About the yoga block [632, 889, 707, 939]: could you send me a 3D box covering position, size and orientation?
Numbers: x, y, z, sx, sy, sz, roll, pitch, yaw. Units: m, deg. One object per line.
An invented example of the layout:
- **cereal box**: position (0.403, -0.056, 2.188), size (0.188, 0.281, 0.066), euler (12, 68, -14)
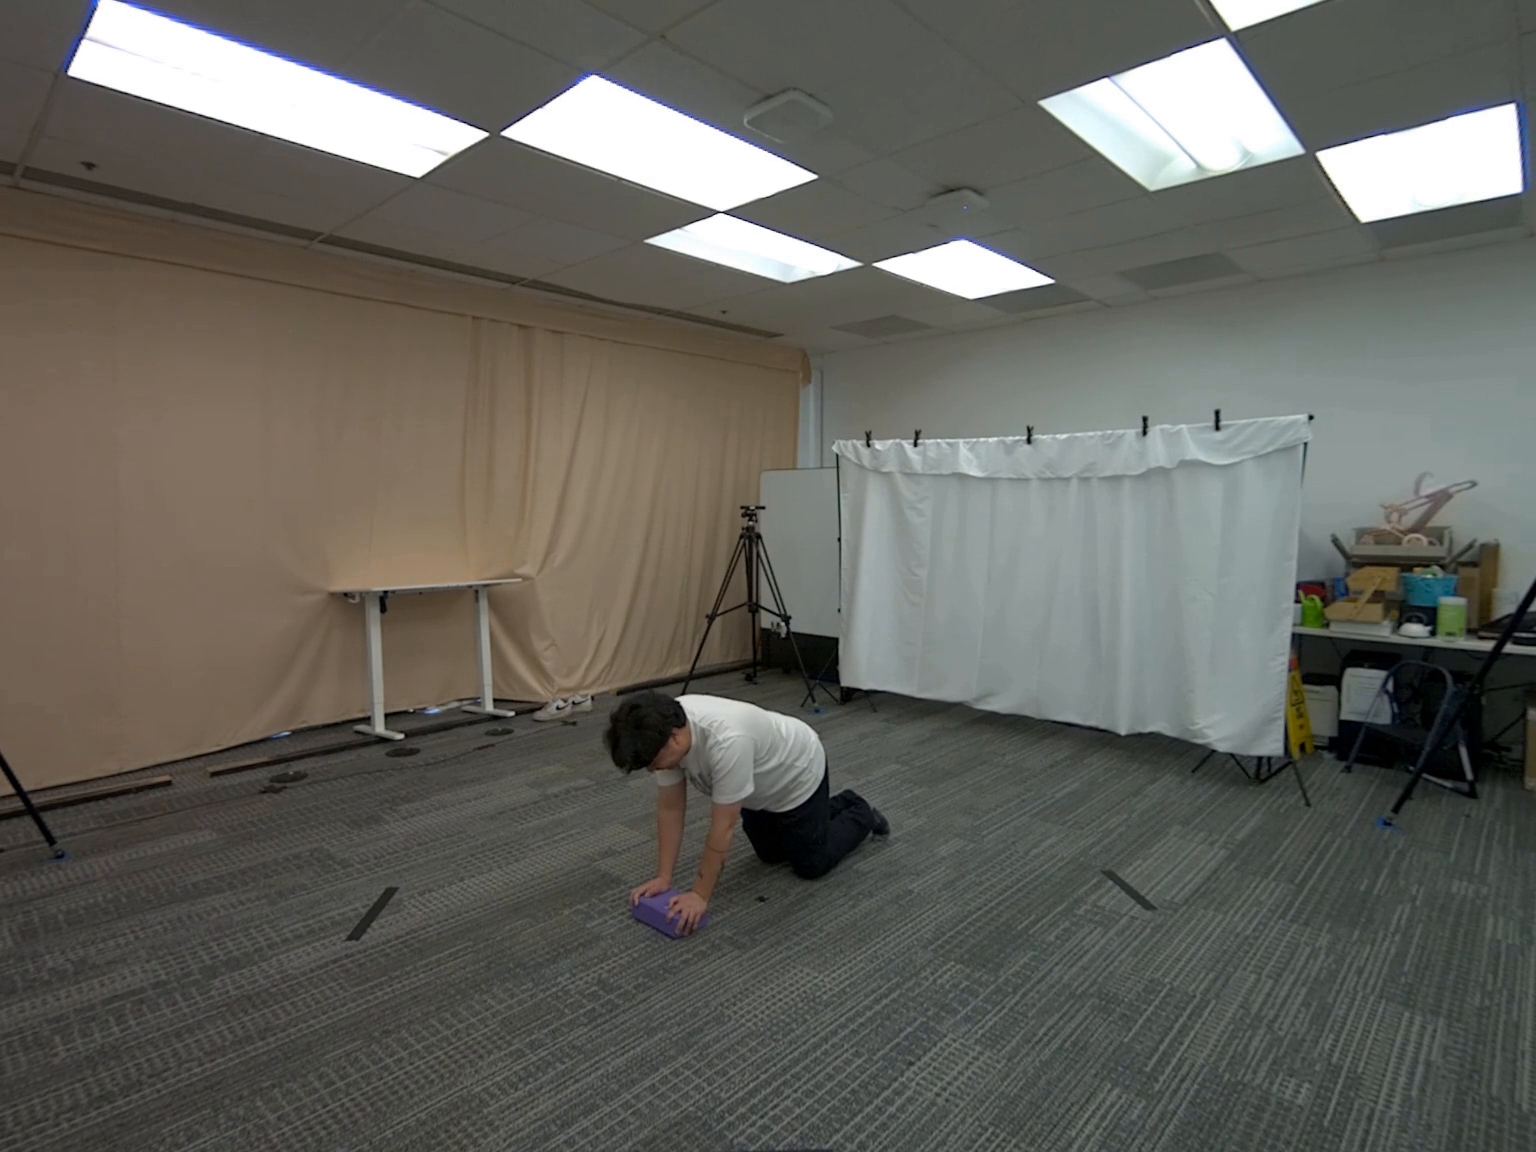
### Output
- **yoga block**: position (-0.329, 1.125, 2.825), size (0.237, 0.076, 0.144), euler (3, 6, 42)
